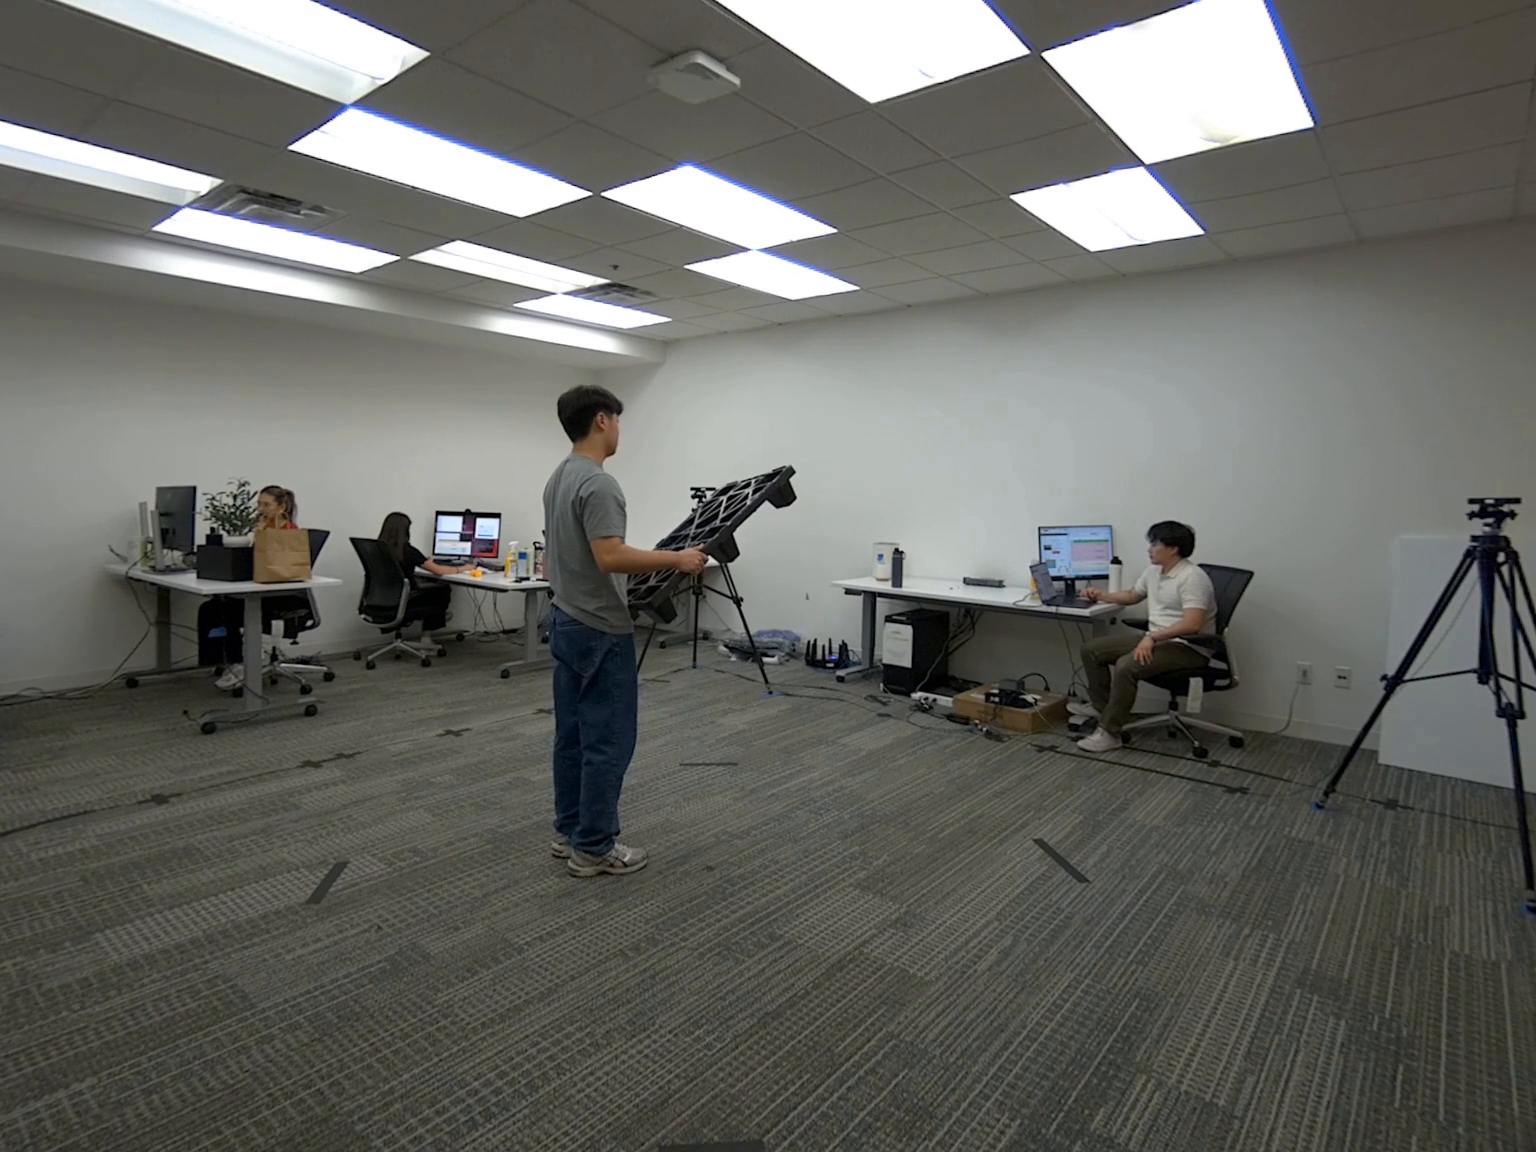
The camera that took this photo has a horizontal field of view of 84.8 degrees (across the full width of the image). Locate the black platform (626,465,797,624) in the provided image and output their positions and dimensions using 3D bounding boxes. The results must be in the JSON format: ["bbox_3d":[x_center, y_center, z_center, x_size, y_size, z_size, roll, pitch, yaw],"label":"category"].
[{"bbox_3d":[-0.278,-0.114,3.372,0.804,0.140,0.619,-45,19,-22],"label":"black platform"}]
